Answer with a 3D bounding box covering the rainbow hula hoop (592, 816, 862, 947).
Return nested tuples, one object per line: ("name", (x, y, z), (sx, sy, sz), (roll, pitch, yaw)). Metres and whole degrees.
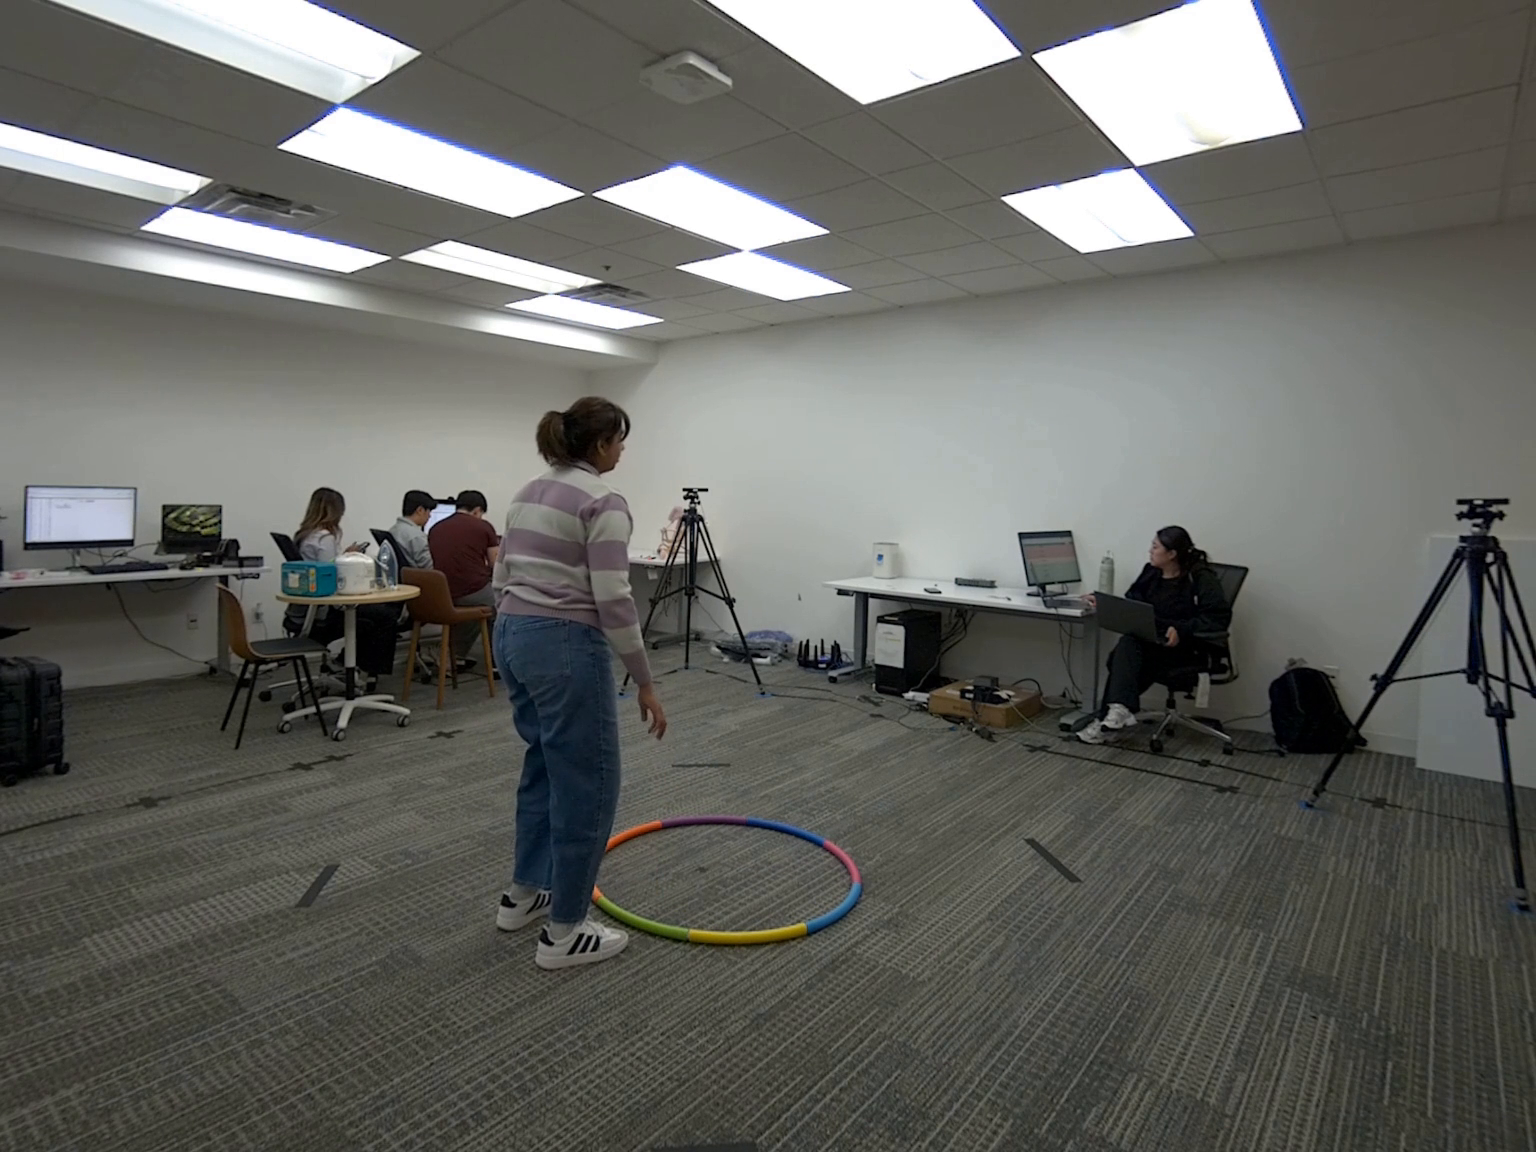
("rainbow hula hoop", (-0.171, 1.049, 3.062), (0.984, 0.051, 0.991), (0, 6, -2))
